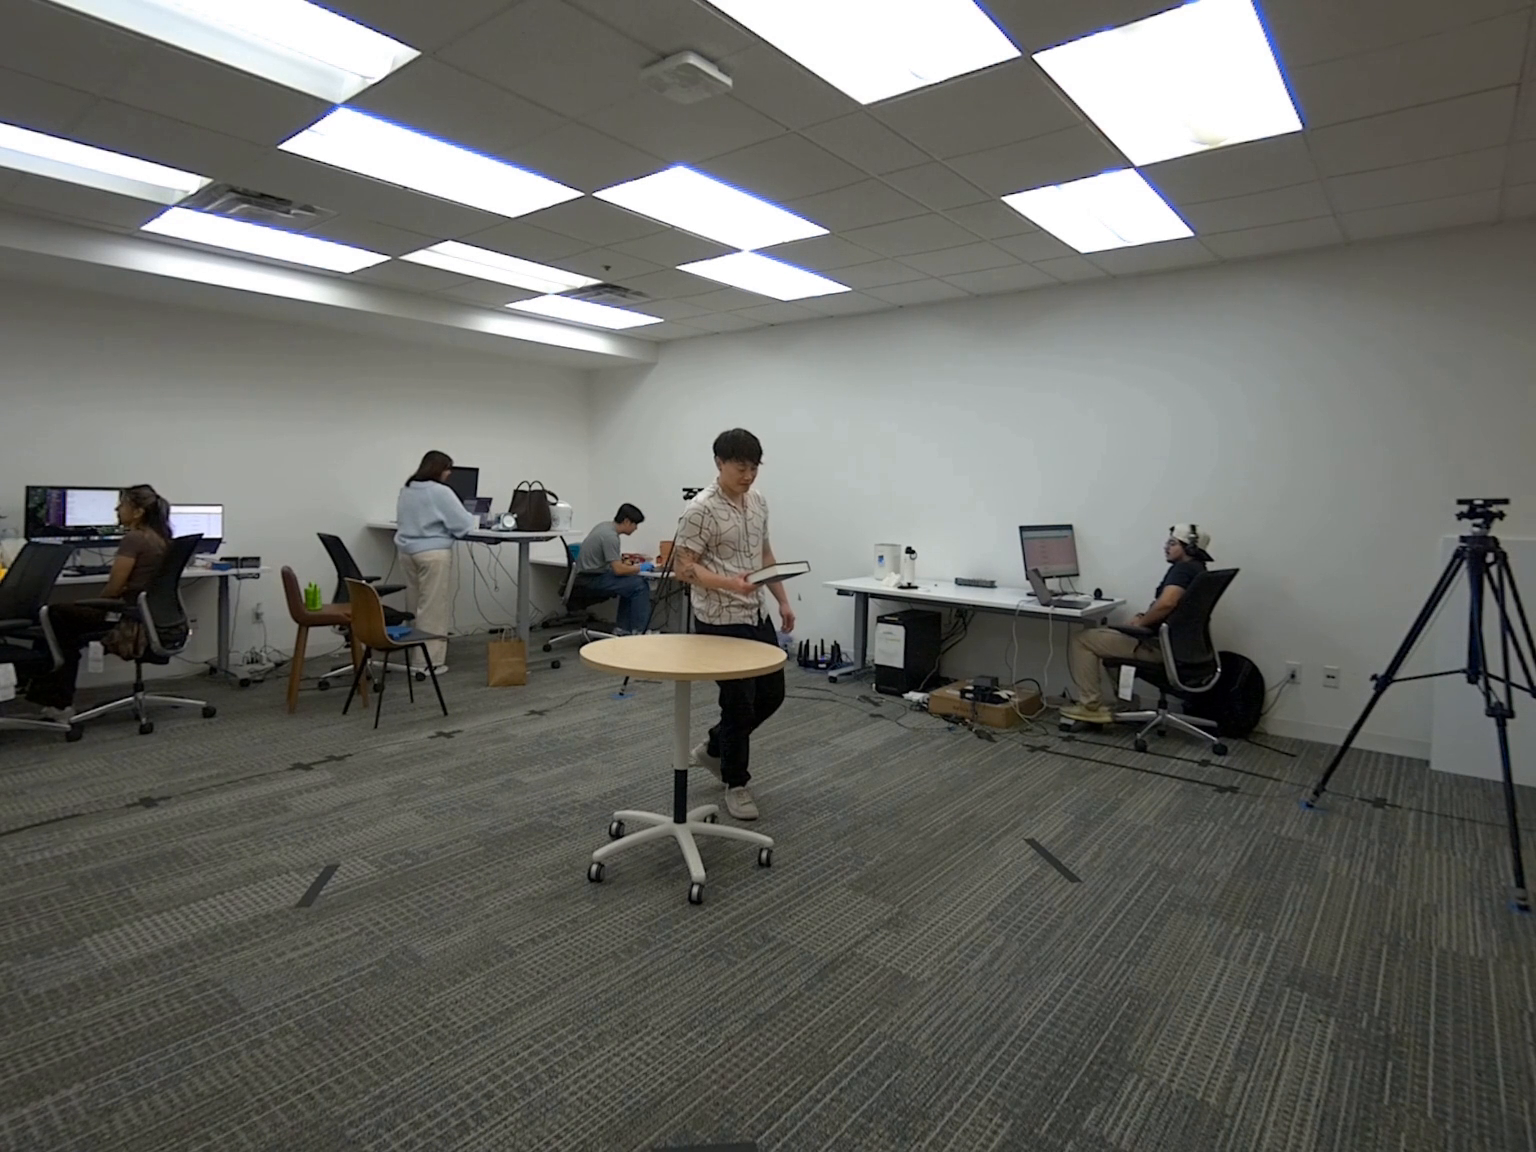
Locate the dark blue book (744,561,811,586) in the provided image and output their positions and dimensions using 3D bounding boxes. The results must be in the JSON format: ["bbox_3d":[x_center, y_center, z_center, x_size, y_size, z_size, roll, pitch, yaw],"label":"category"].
[{"bbox_3d":[0.006,-0.009,3.431,0.159,0.045,0.249,-6,-8,-35],"label":"dark blue book"}]
